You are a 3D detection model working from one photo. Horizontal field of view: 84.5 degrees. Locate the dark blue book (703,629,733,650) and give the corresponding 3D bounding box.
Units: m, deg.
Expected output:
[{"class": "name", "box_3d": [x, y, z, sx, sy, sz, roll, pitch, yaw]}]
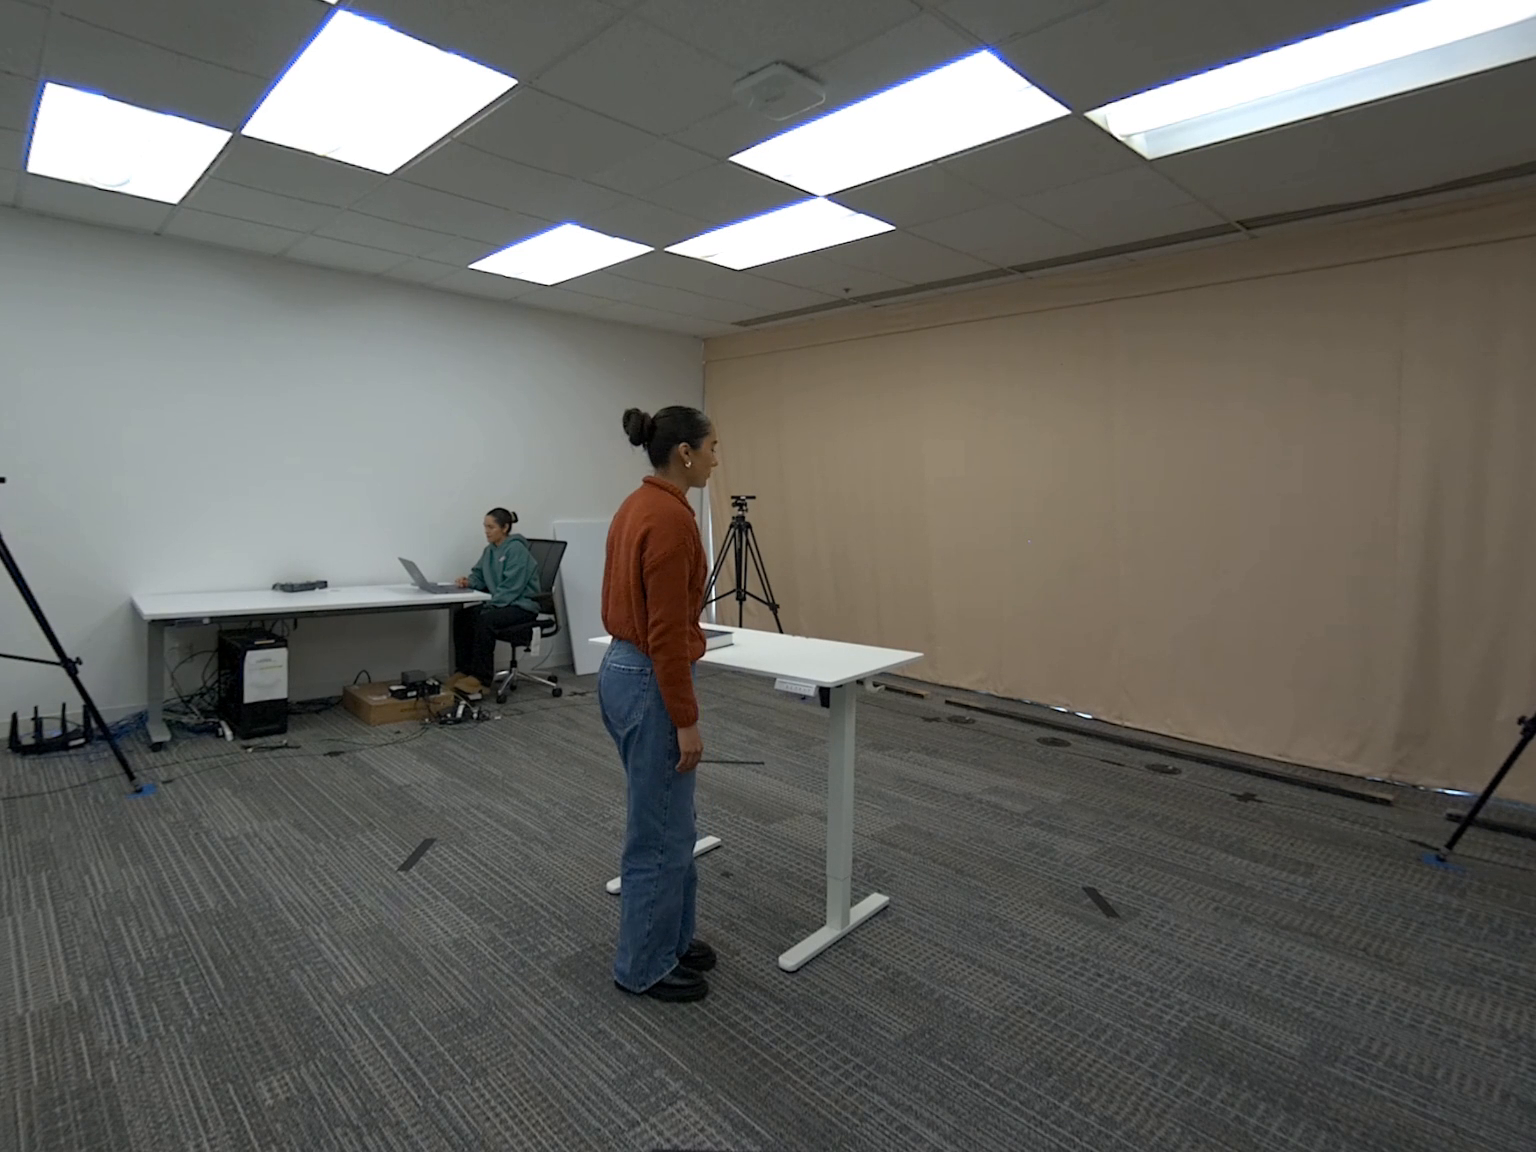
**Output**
[{"class": "dark blue book", "box_3d": [-0.247, 0.221, 2.862, 0.167, 0.045, 0.240, 4, 6, 32]}]
